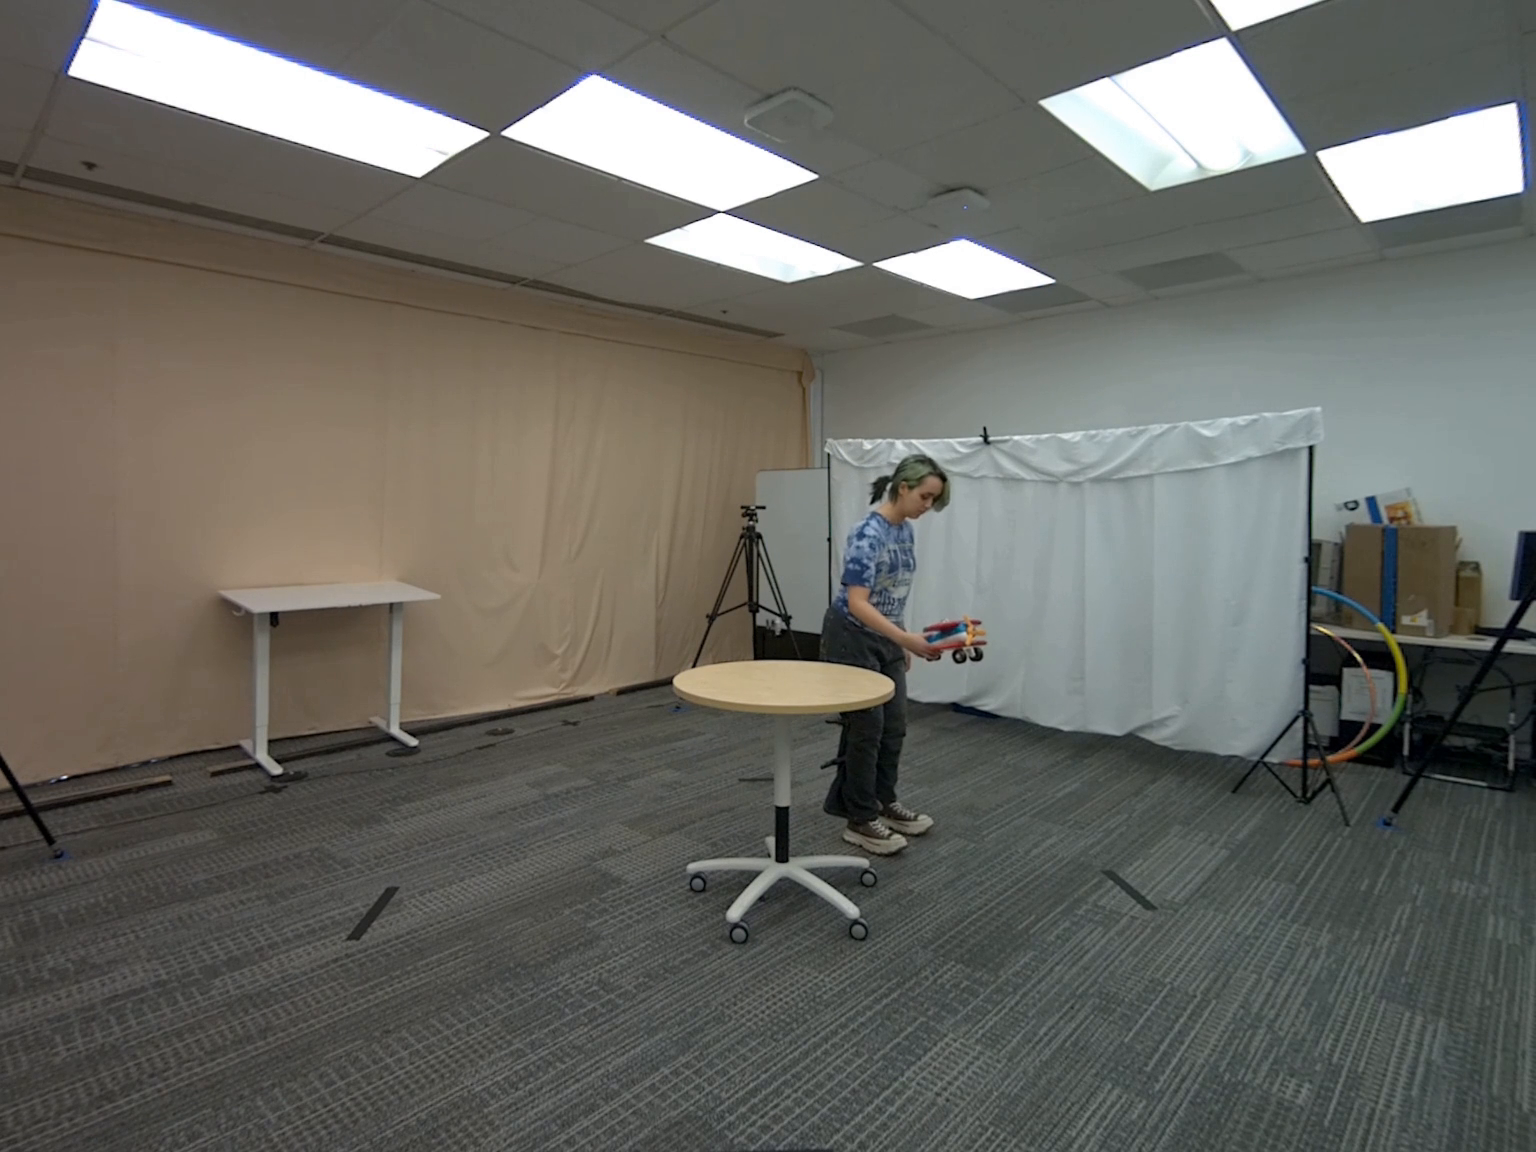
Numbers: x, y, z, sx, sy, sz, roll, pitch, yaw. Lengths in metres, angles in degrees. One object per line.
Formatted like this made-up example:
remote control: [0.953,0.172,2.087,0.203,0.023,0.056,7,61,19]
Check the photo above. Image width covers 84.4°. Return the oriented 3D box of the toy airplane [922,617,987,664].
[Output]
toy airplane: [0.670,0.251,3.175,0.266,0.156,0.244,-2,-1,31]
